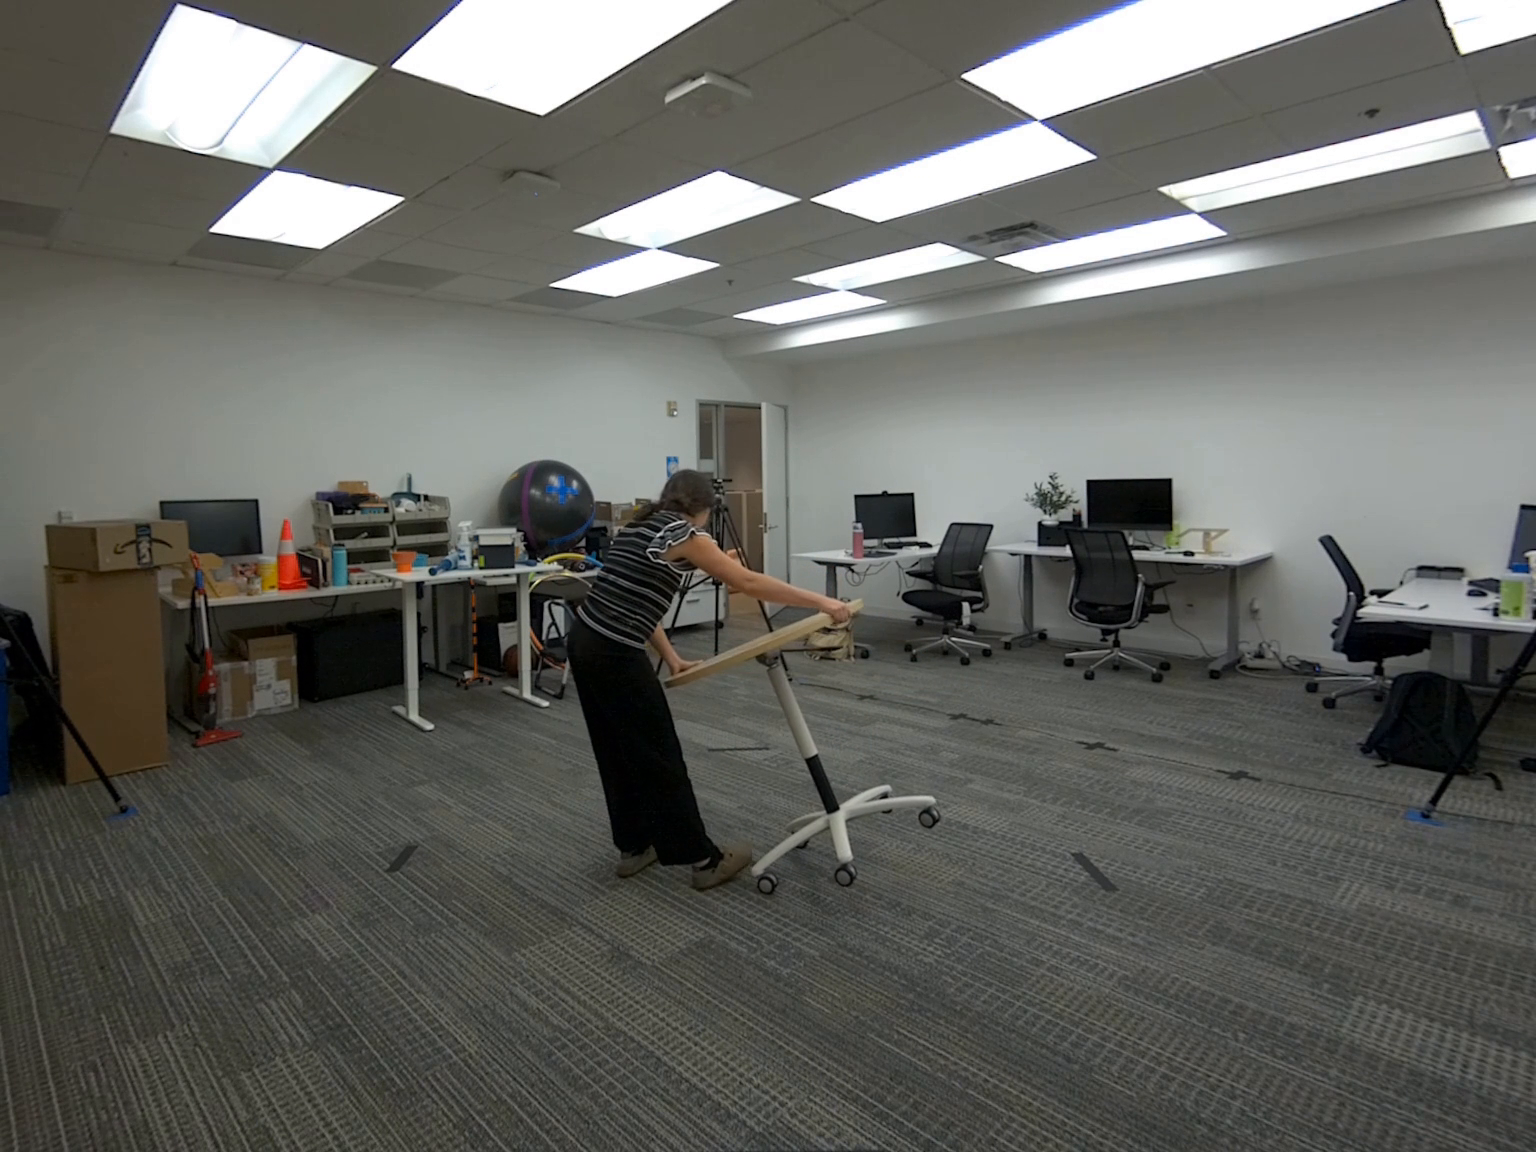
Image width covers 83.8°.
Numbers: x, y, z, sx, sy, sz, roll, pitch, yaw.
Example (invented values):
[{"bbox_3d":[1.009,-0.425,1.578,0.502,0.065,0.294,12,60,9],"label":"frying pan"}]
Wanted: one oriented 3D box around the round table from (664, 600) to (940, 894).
[{"bbox_3d":[0.132,0.594,3.009,0.762,0.799,0.761,-22,-4,-3],"label":"round table"}]
